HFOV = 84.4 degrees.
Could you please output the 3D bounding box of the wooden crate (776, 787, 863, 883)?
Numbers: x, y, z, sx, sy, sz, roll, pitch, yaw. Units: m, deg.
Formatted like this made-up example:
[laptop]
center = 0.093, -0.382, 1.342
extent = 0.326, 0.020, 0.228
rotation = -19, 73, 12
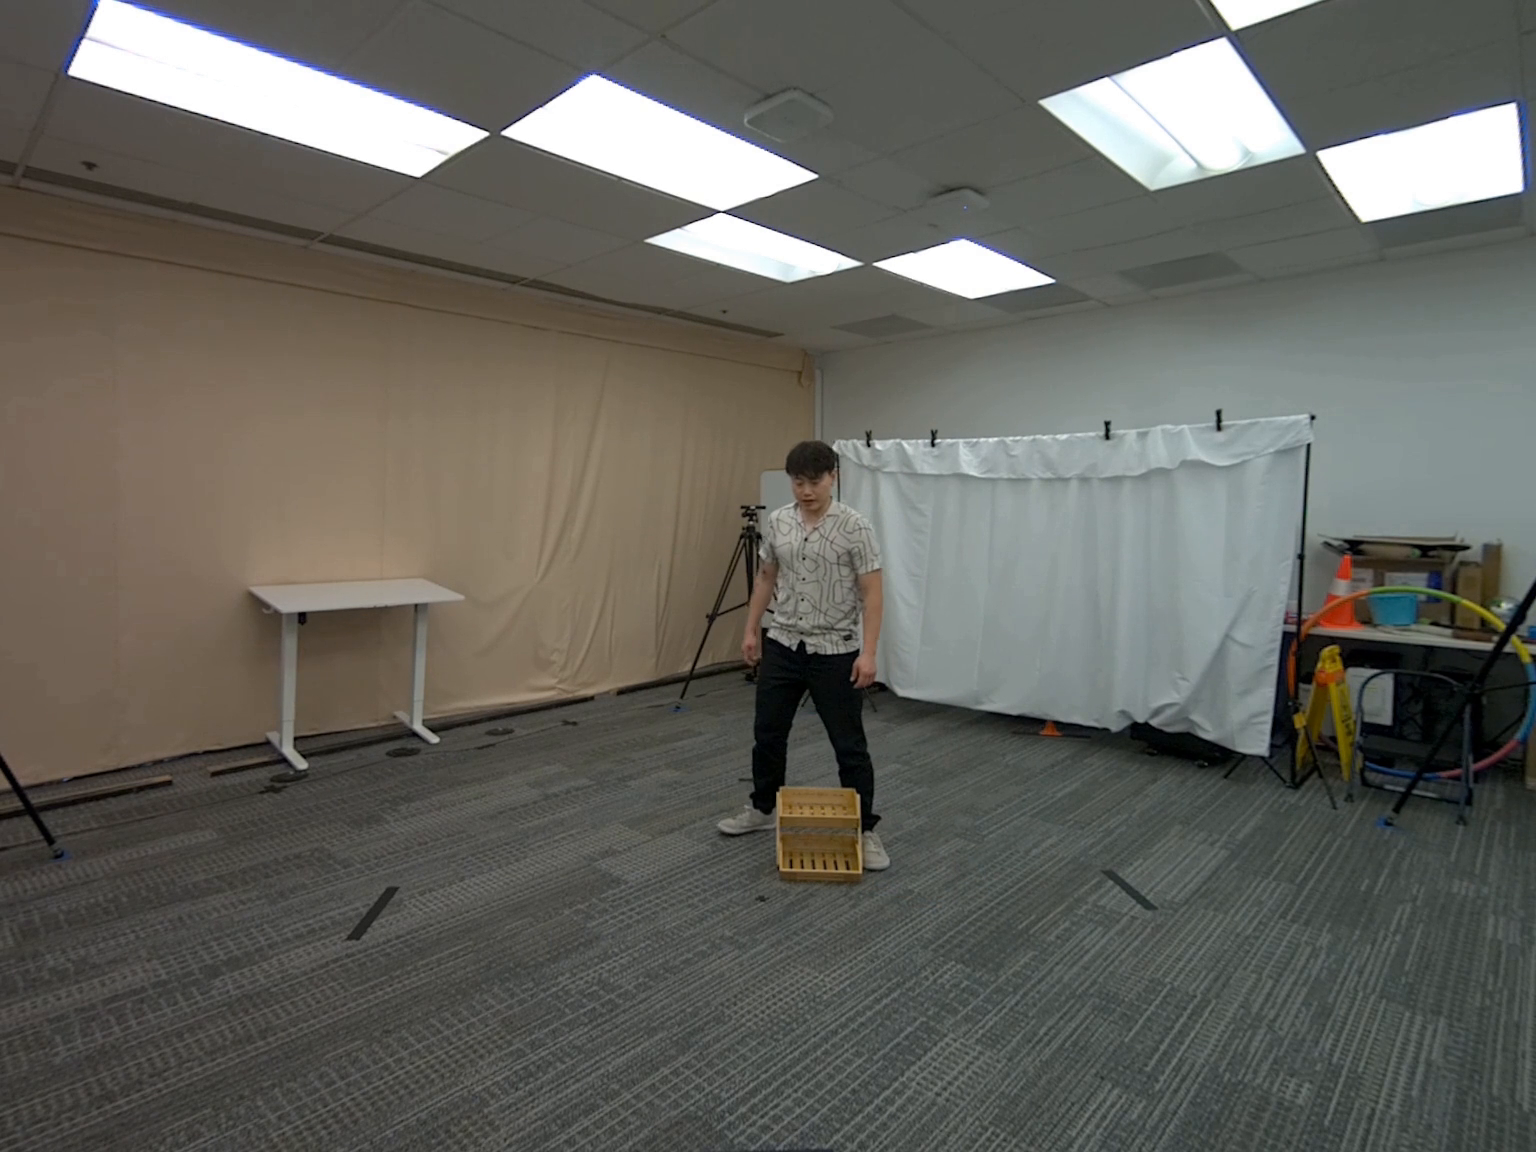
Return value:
[wooden crate]
center = 0.200, 0.993, 3.230
extent = 0.326, 0.273, 0.301
rotation = 0, 3, 2
